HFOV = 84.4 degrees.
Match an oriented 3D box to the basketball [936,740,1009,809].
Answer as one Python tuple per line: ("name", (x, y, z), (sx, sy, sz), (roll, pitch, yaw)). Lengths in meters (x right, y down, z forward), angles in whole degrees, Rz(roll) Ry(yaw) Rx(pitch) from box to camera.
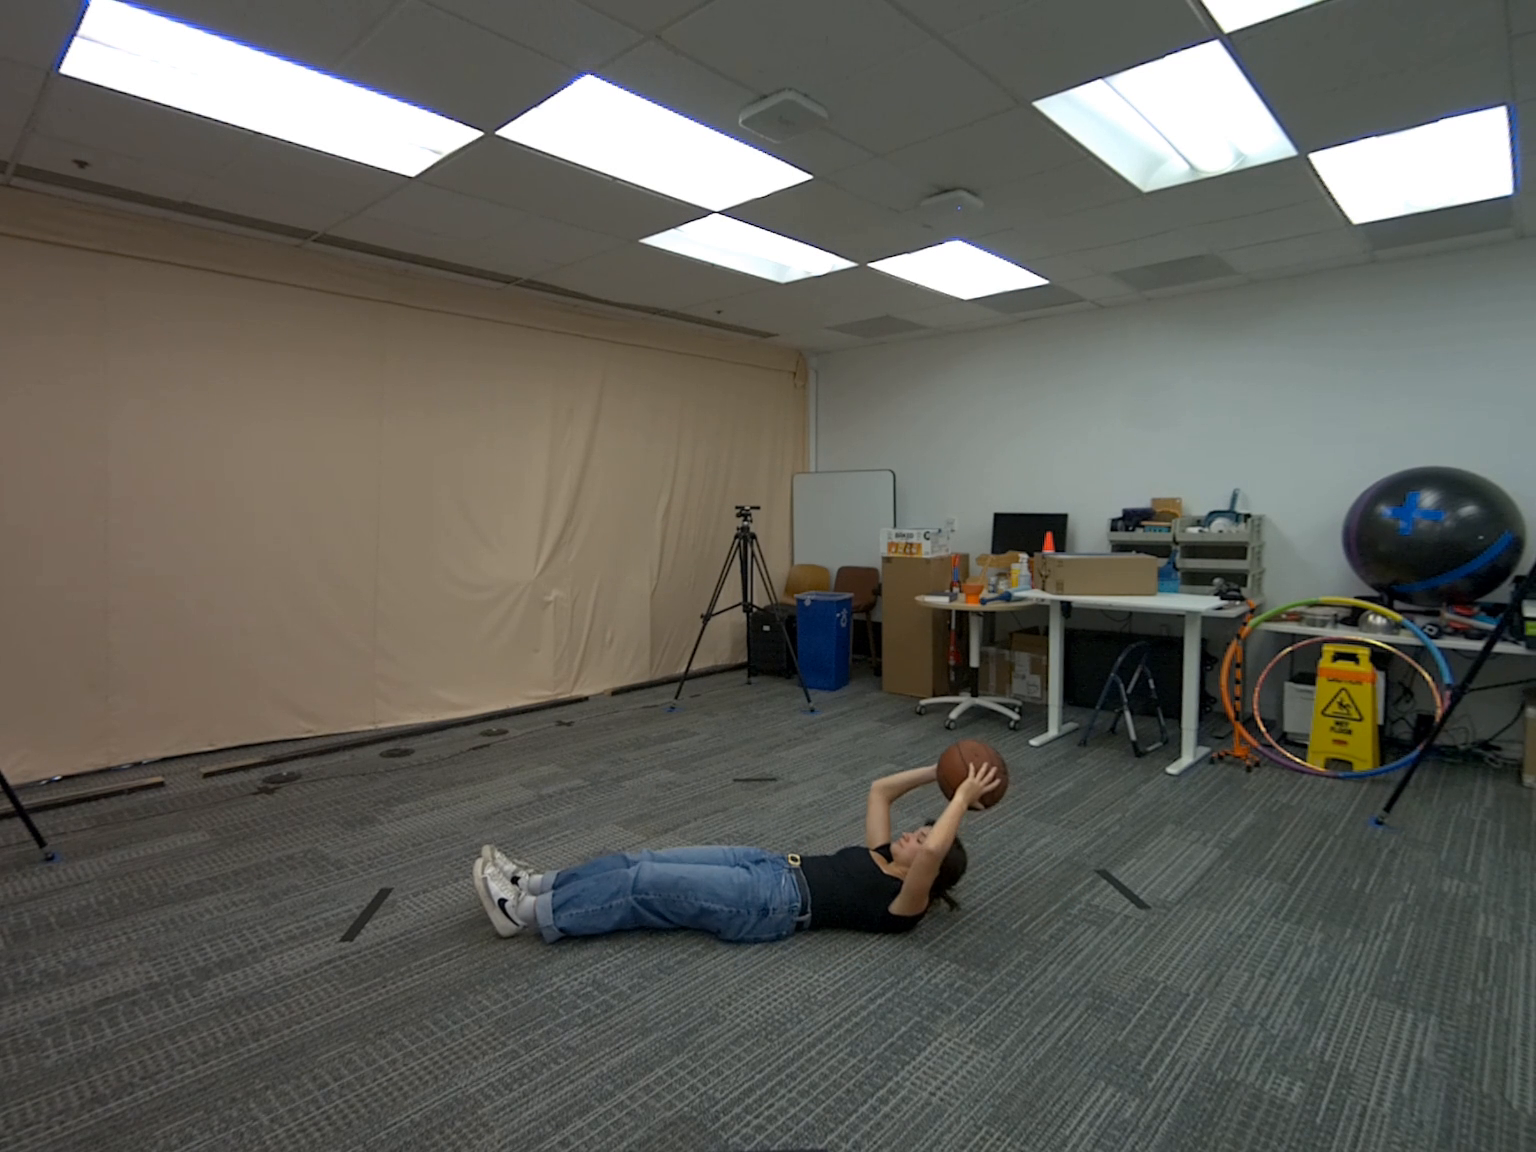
("basketball", (0.709, 0.686, 2.893), (0.236, 0.235, 0.237), (0, 4, -2))
